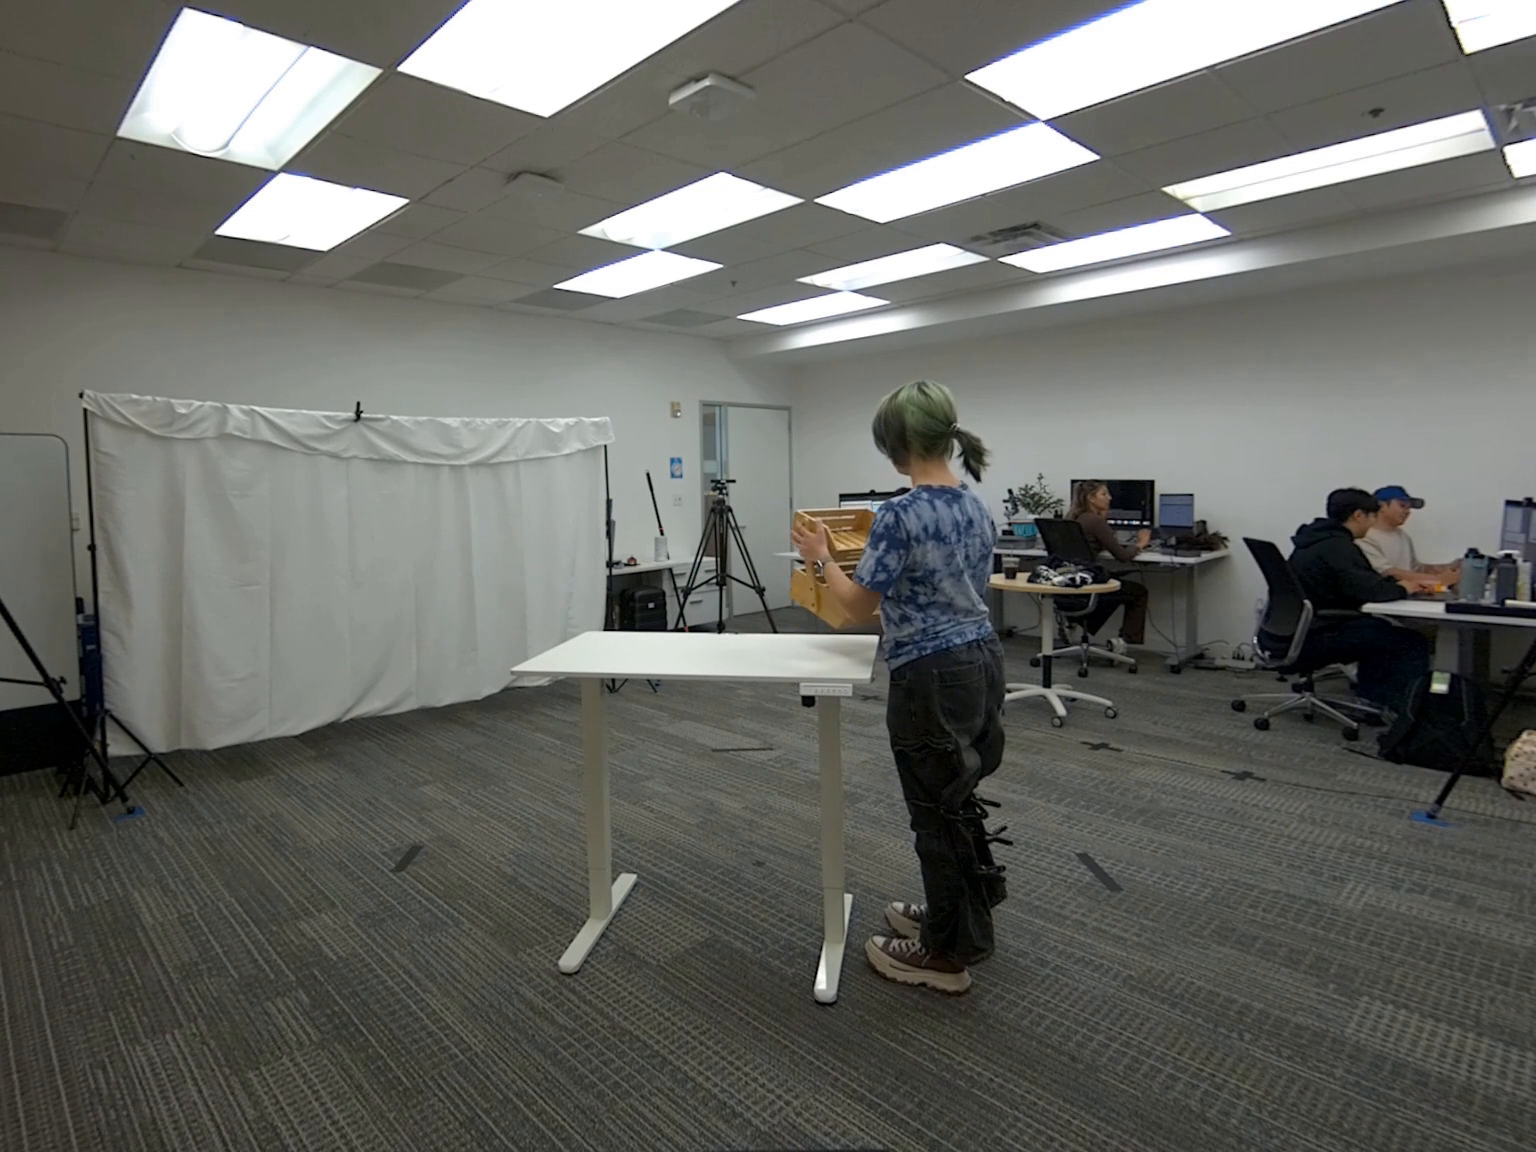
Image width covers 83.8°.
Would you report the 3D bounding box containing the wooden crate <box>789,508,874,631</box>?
[{"bbox_3d":[0.275,-0.032,2.571,0.316,0.269,0.314,-5,25,-36],"label":"wooden crate"}]
